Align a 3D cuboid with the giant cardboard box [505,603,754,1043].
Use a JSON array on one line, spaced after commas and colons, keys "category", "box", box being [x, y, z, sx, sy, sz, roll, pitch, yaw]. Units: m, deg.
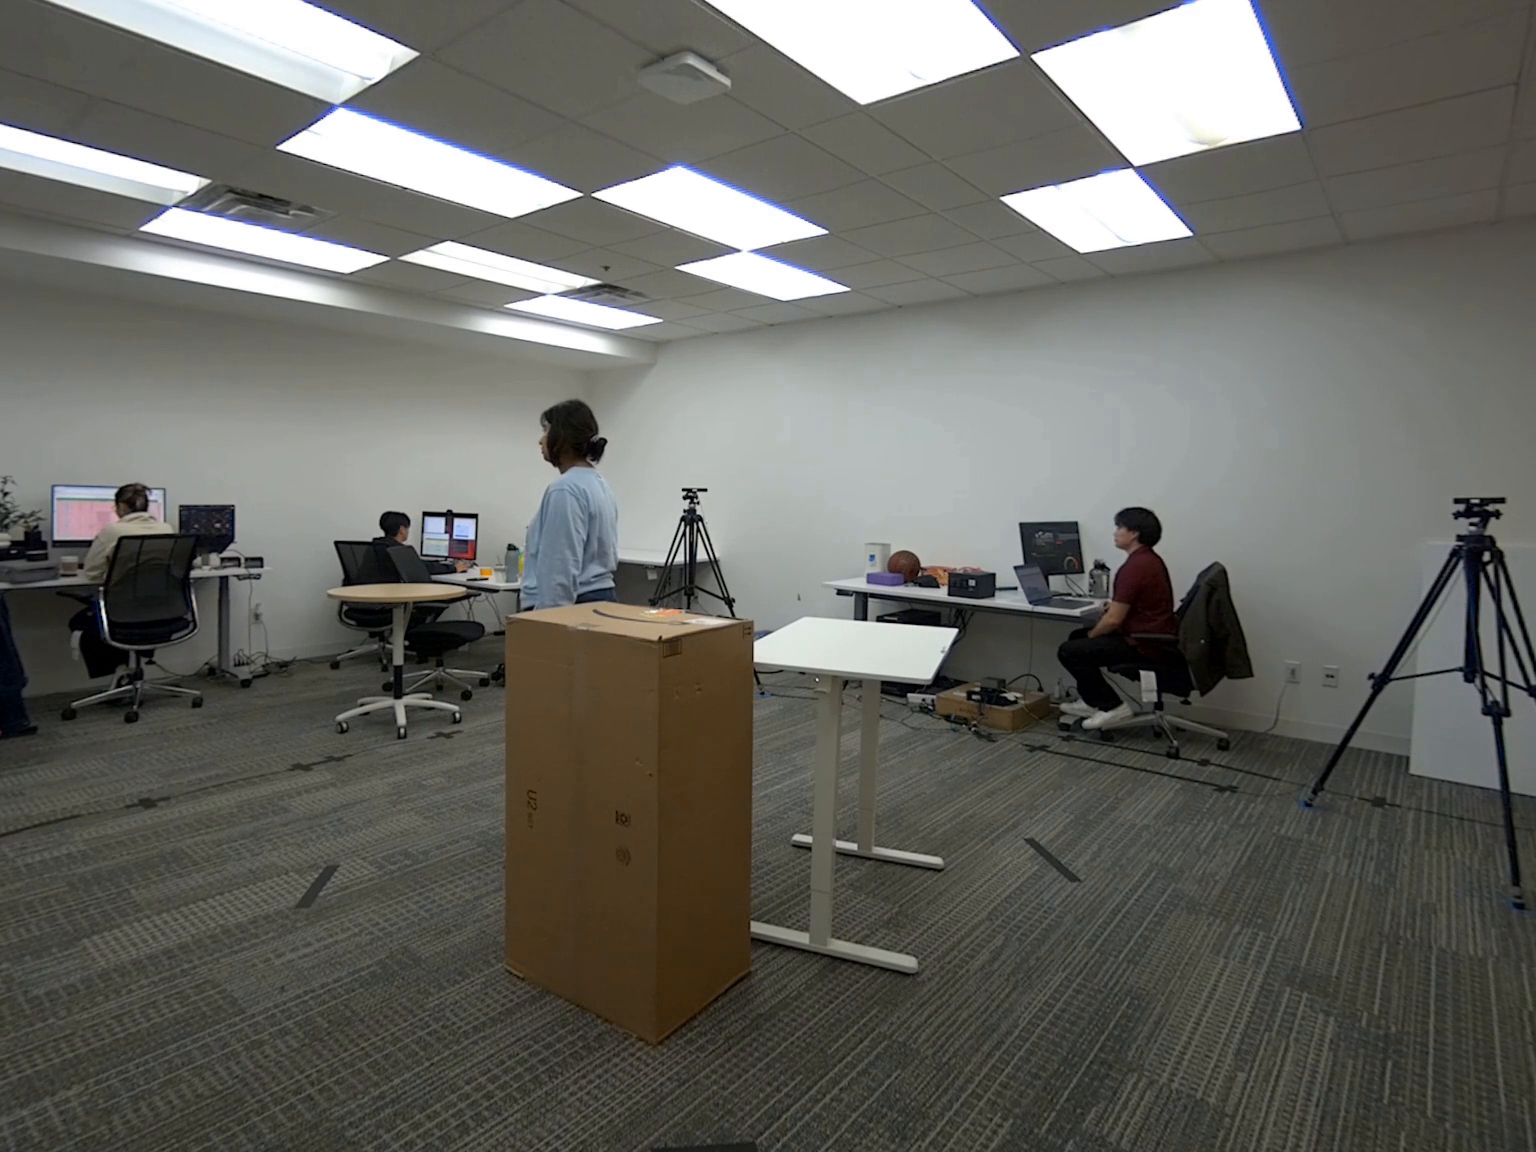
[{"category": "giant cardboard box", "box": [-0.400, 0.626, 2.428, 0.596, 1.023, 0.414, 3, 4, 34]}]
